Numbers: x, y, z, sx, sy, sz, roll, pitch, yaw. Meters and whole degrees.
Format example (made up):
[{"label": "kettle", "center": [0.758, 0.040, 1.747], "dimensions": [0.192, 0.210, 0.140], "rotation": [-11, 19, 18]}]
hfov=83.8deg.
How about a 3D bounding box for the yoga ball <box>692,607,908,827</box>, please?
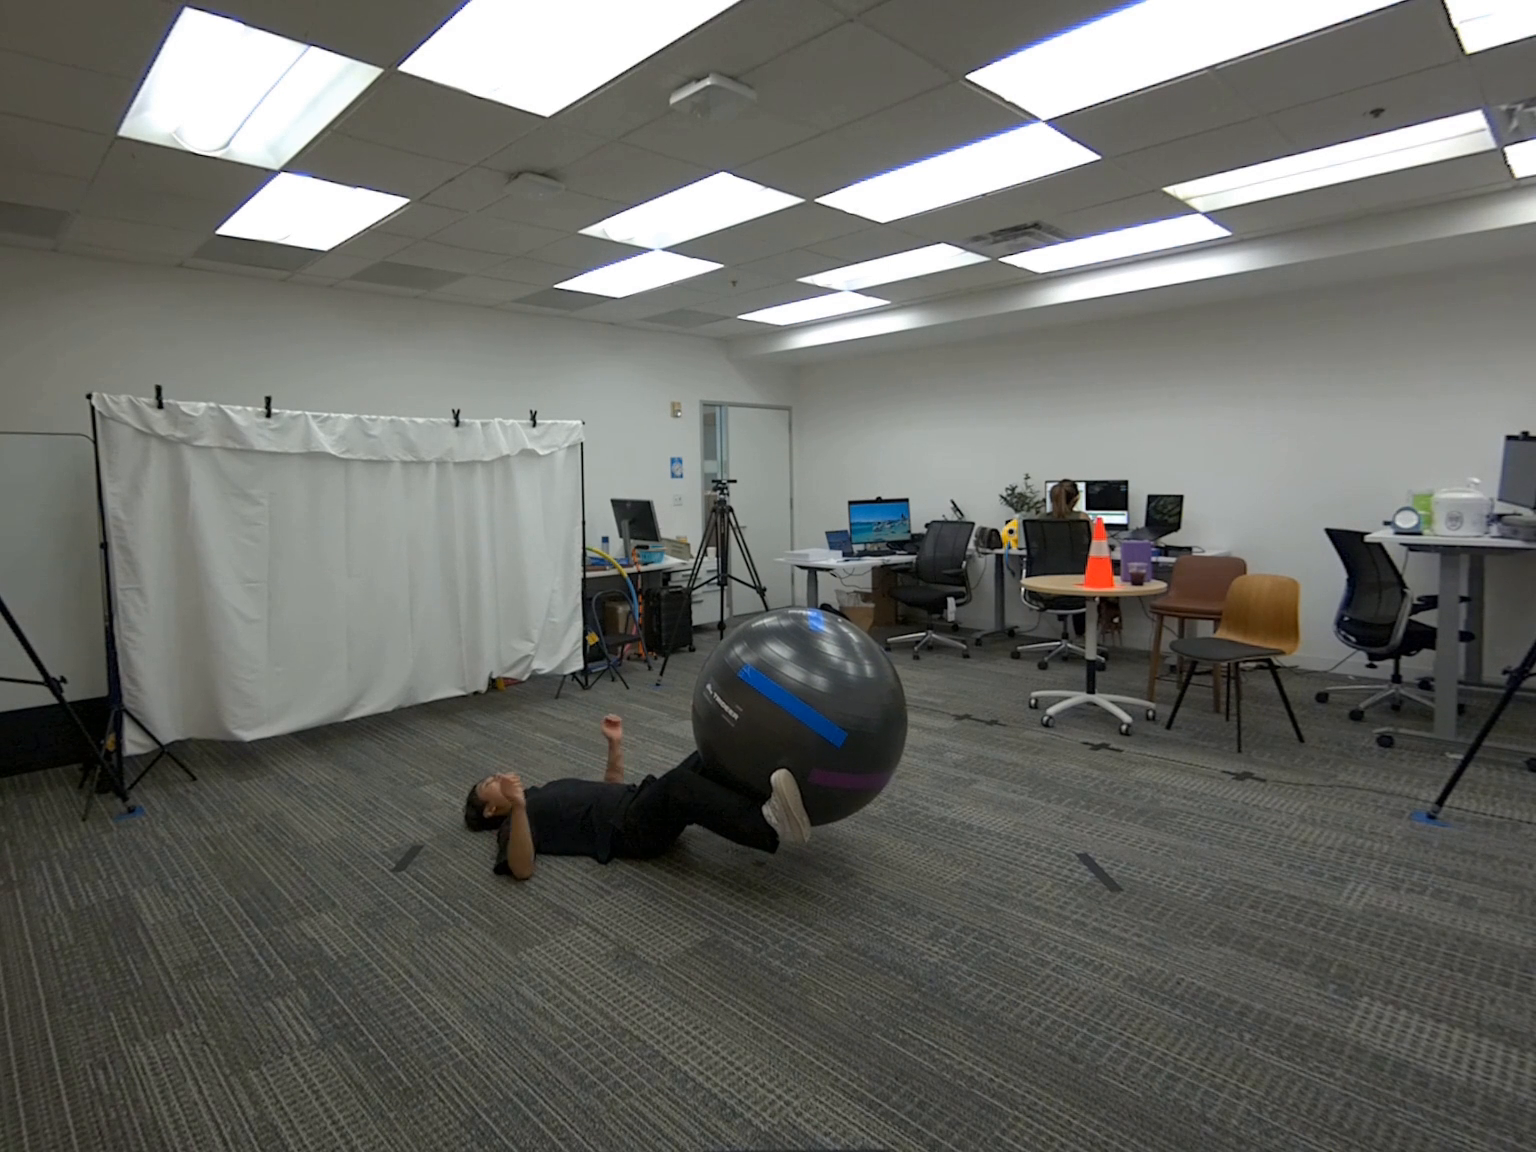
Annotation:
[{"label": "yoga ball", "center": [0.109, 0.499, 3.050], "dimensions": [0.757, 0.755, 0.762], "rotation": [-1, 5, -2]}]
